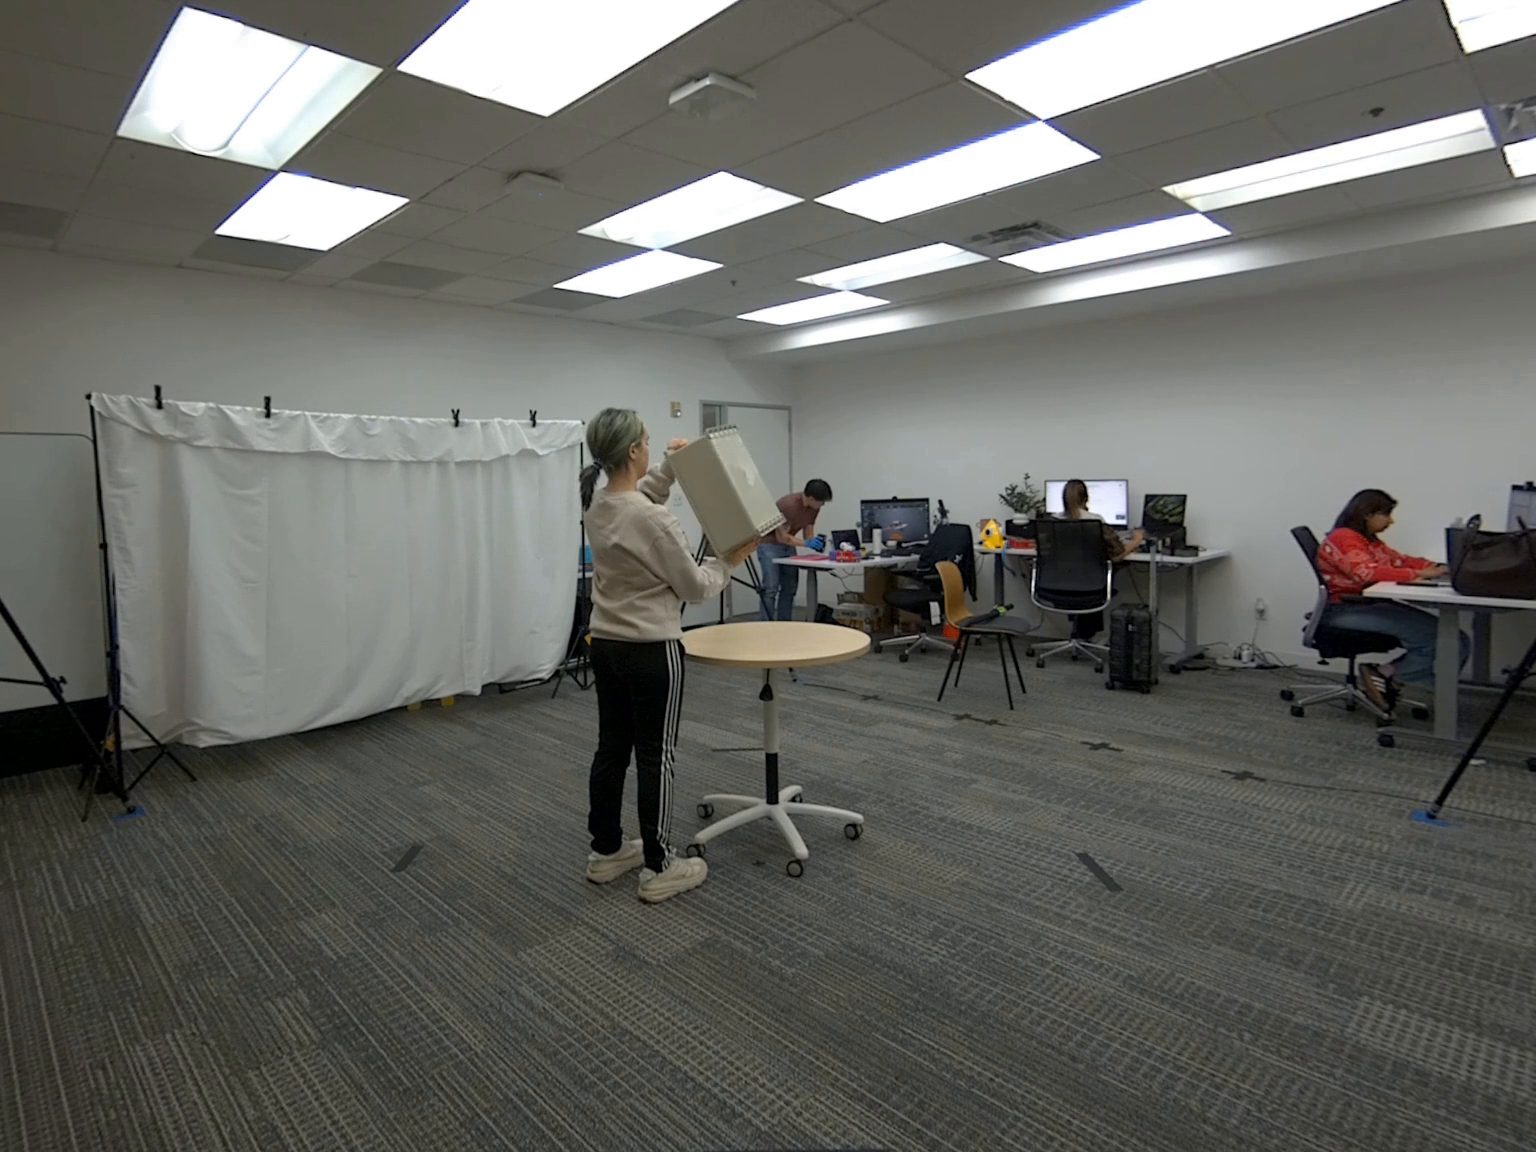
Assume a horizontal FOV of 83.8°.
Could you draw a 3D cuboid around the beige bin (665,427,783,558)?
[{"bbox_3d":[-0.148,-0.323,3.120,0.190,0.422,0.374,-27,1,20],"label":"beige bin"}]
